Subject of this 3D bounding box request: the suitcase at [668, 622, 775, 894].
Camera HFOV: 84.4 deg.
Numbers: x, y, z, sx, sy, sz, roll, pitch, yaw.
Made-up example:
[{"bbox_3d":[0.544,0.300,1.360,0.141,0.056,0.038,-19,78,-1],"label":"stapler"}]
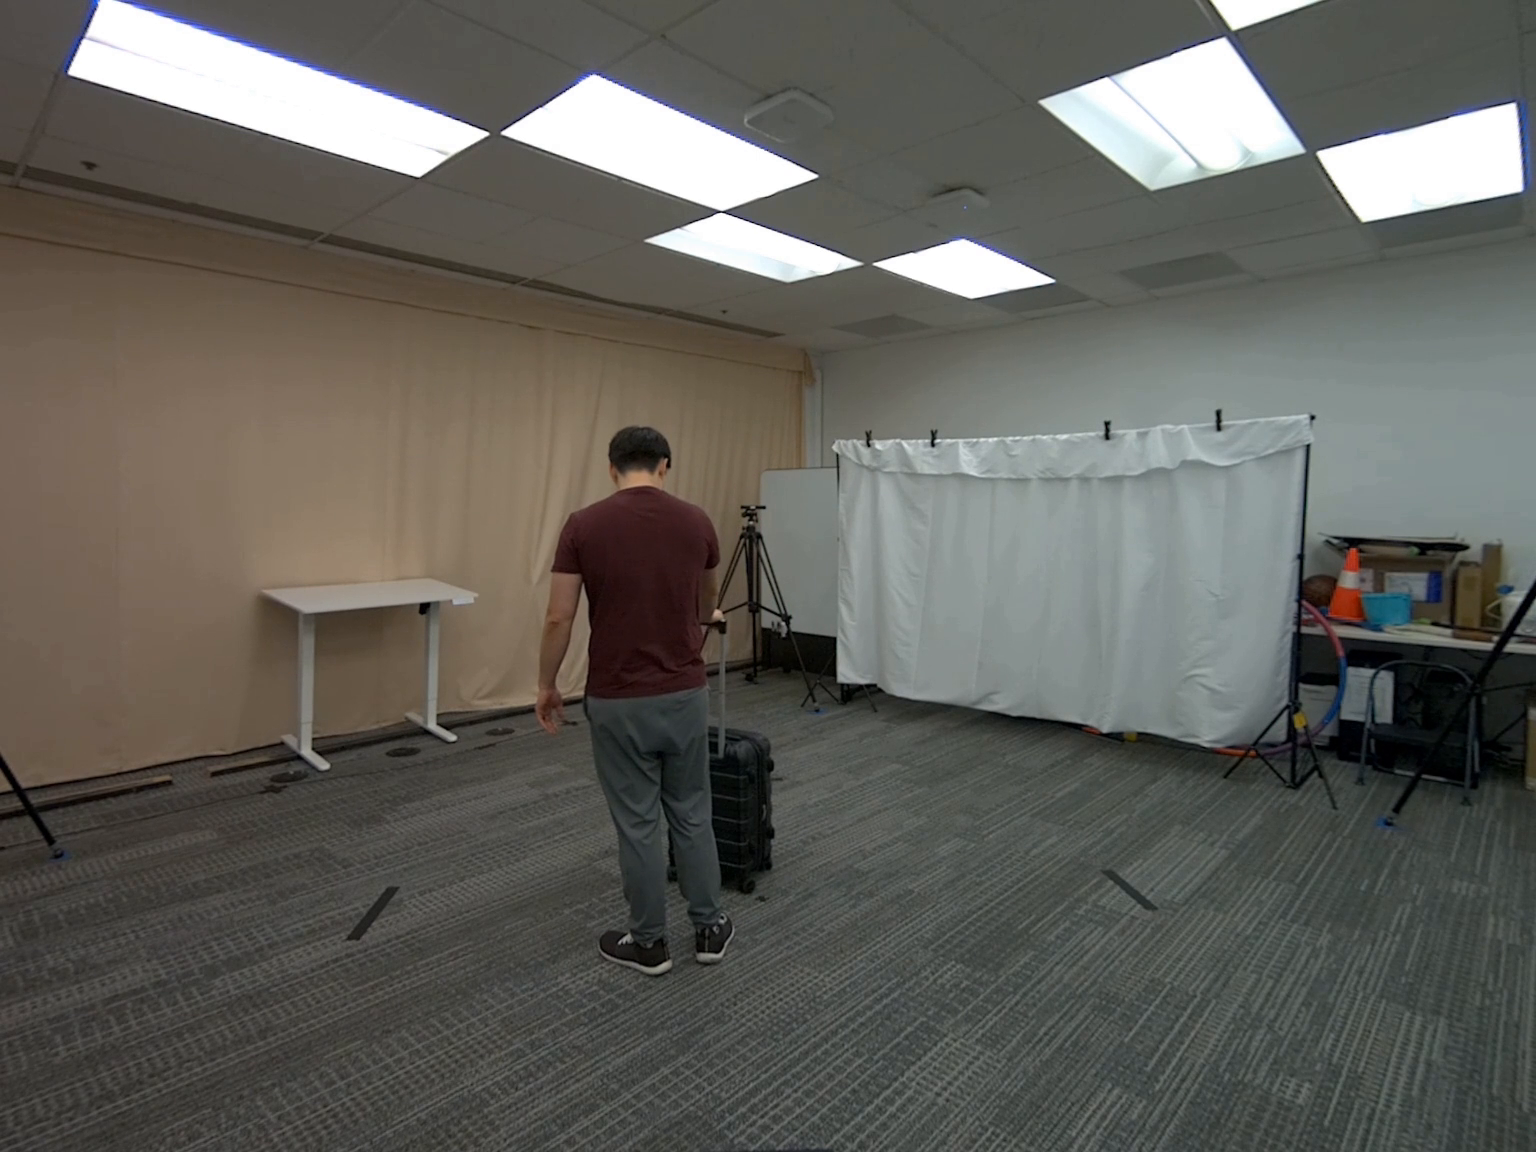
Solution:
[{"bbox_3d":[-0.180,0.656,3.166,0.393,0.978,0.251,0,1,24],"label":"suitcase"}]
